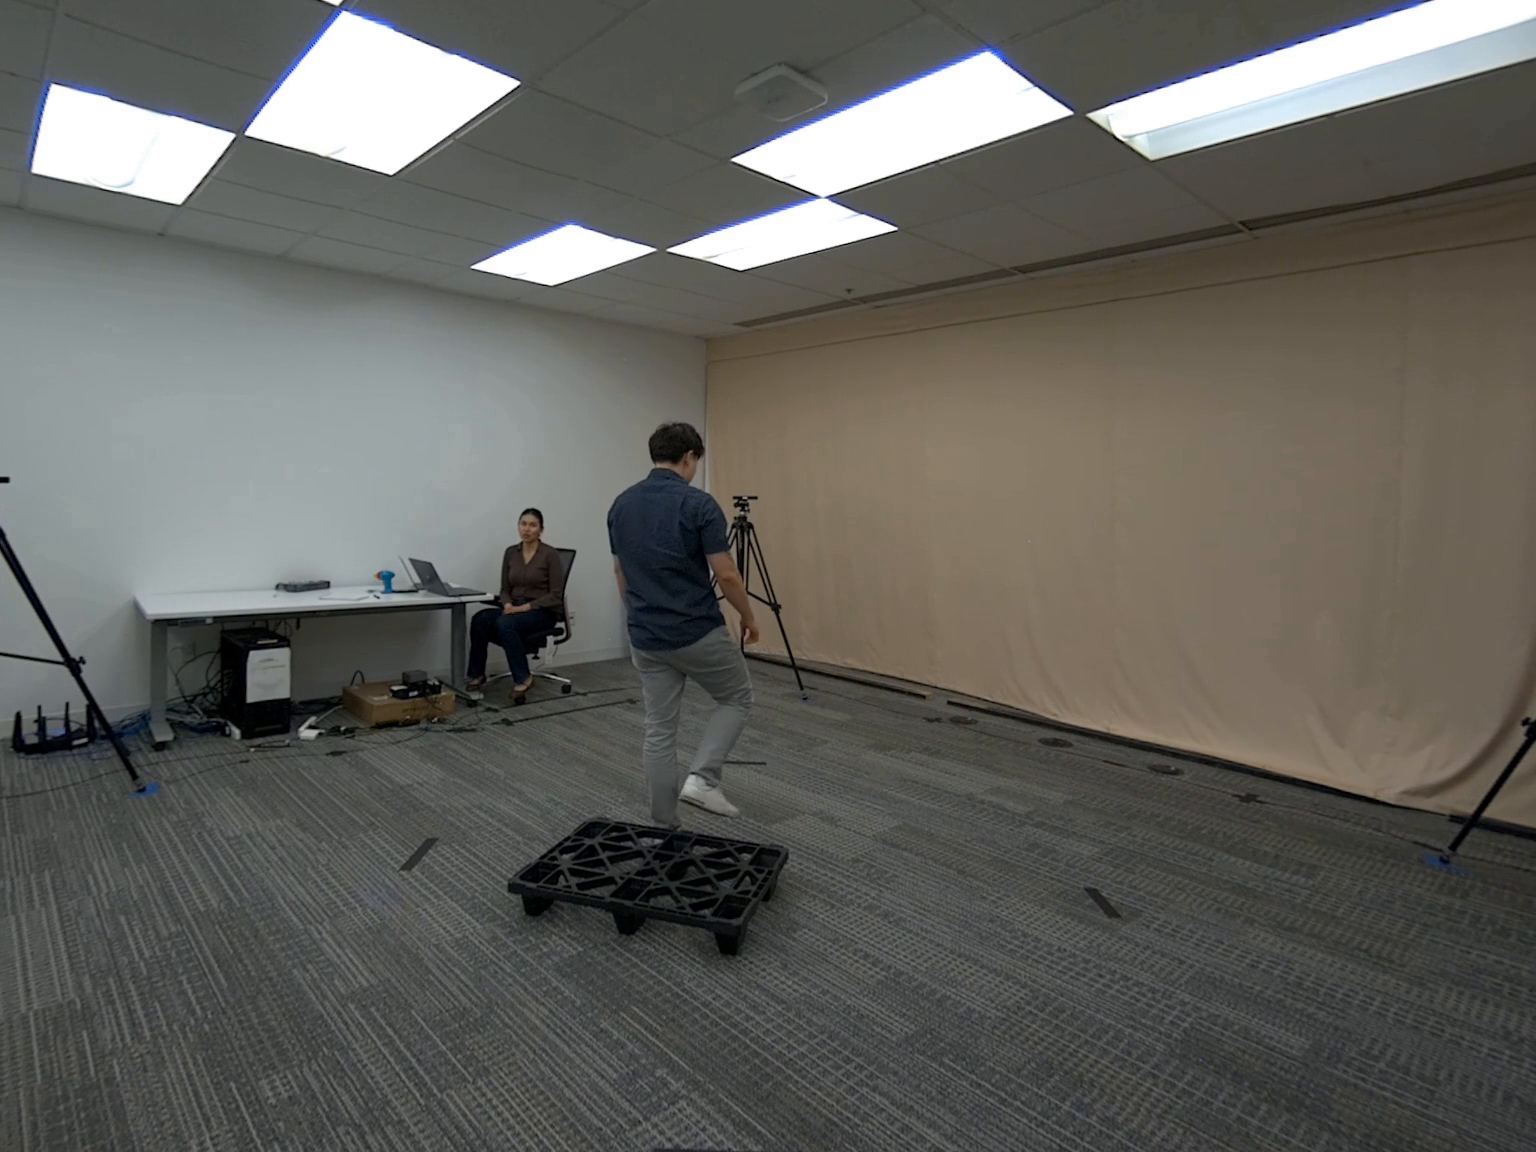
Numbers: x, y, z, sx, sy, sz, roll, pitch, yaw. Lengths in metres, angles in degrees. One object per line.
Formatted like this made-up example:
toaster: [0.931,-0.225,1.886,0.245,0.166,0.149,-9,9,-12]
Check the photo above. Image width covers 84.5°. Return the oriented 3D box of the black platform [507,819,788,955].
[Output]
black platform: [-0.389,1.052,2.877,0.817,0.143,0.599,3,6,17]
